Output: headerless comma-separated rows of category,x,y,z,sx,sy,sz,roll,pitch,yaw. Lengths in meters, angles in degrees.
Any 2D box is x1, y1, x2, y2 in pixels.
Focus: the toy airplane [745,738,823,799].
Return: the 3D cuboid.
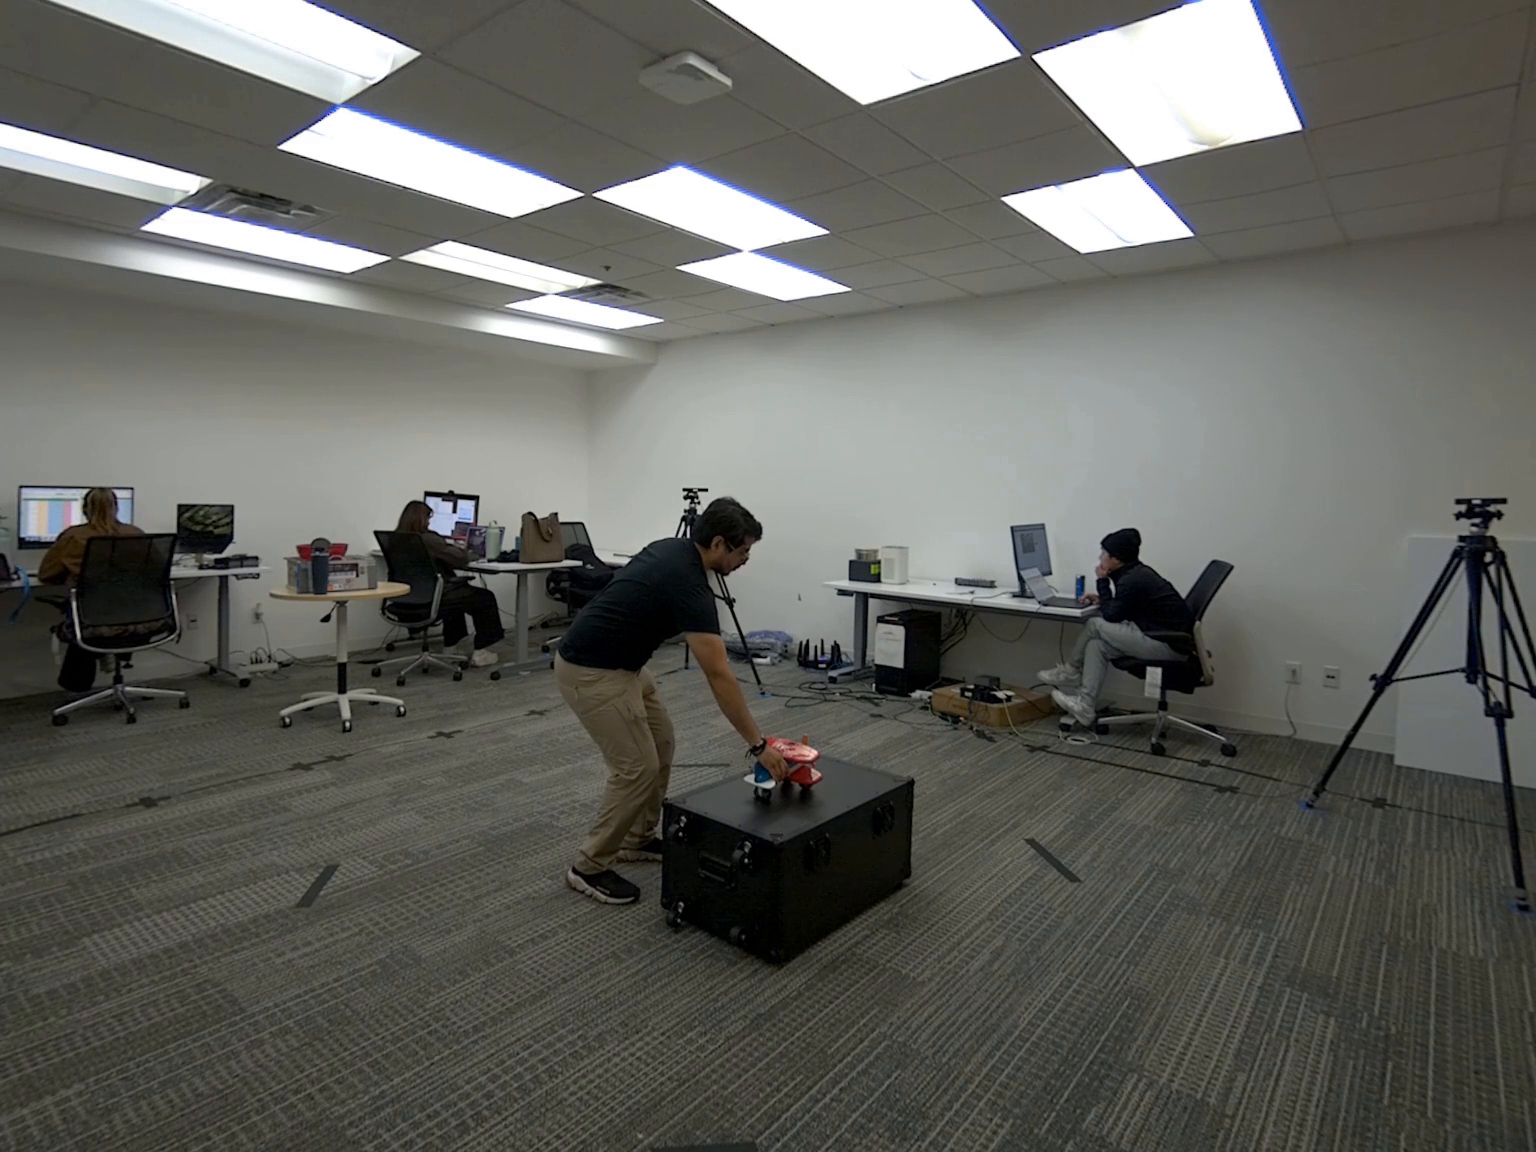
toy airplane,0.050,0.649,2.863,0.255,0.156,0.256,1,3,14
